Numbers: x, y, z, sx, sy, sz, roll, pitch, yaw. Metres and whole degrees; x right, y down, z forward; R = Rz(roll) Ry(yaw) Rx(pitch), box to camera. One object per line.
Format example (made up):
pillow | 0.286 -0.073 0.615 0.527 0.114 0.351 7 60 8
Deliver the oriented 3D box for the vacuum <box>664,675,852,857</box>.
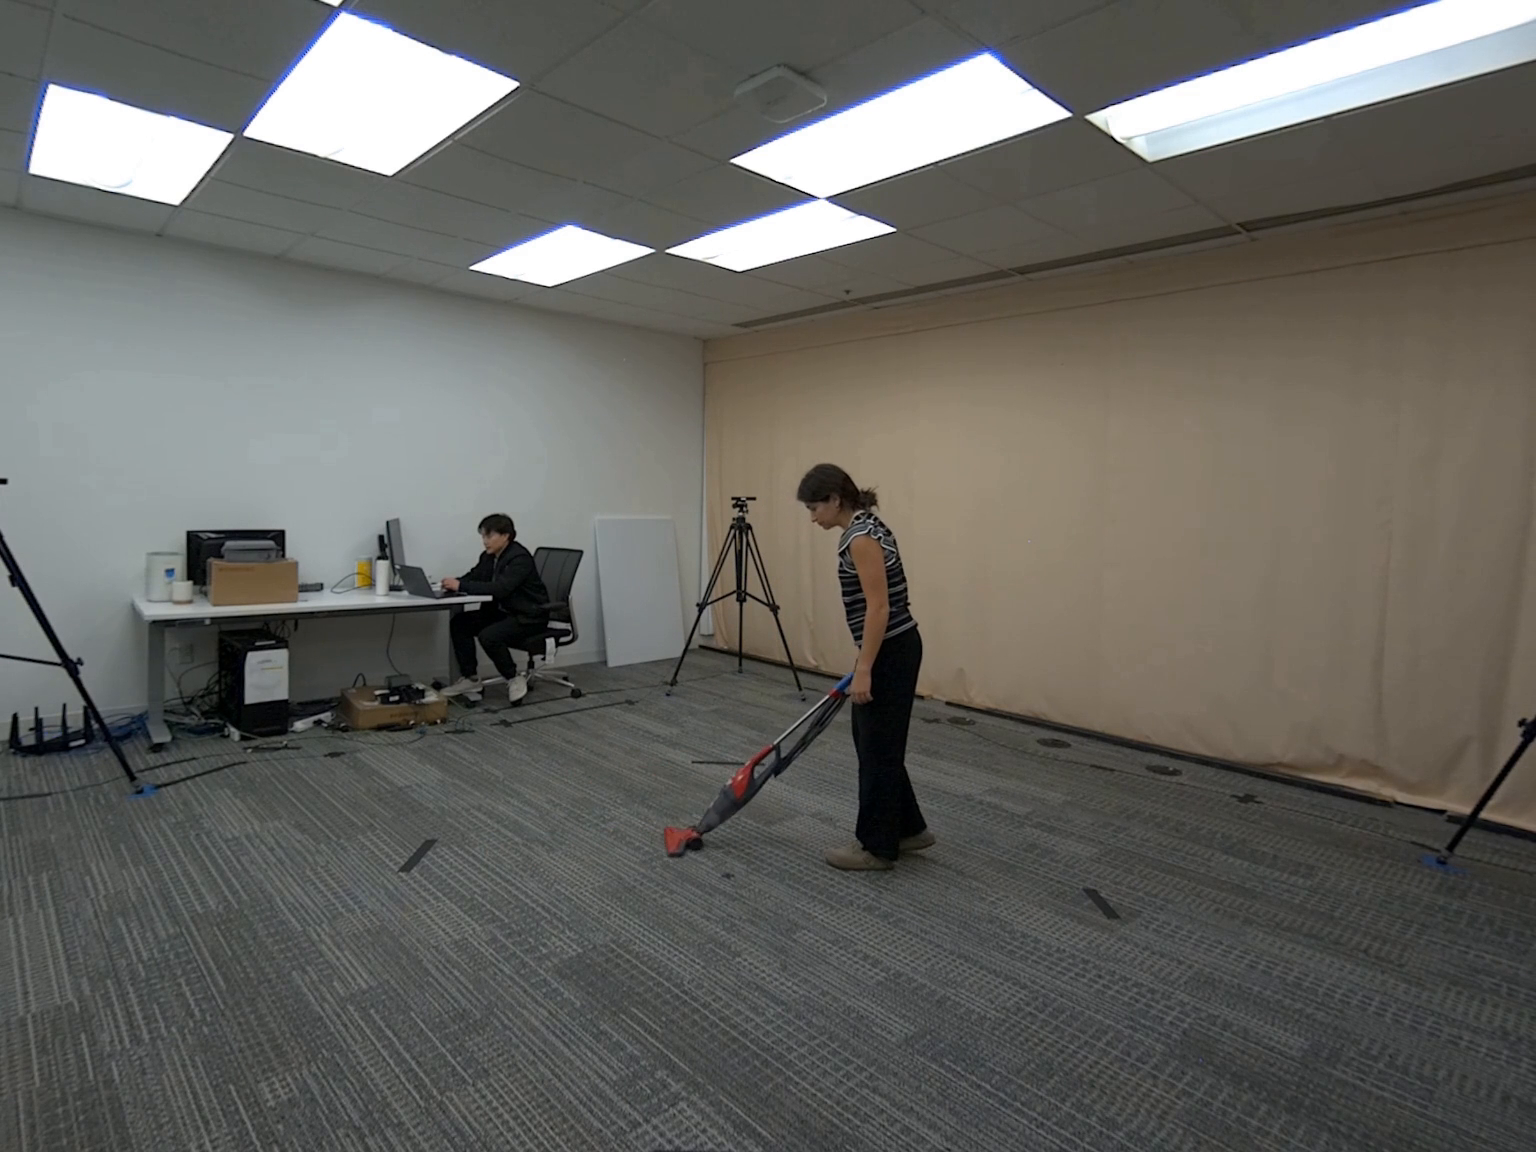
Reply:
vacuum | 0.034 0.721 3.411 1.049 0.143 0.255 -40 9 -4
